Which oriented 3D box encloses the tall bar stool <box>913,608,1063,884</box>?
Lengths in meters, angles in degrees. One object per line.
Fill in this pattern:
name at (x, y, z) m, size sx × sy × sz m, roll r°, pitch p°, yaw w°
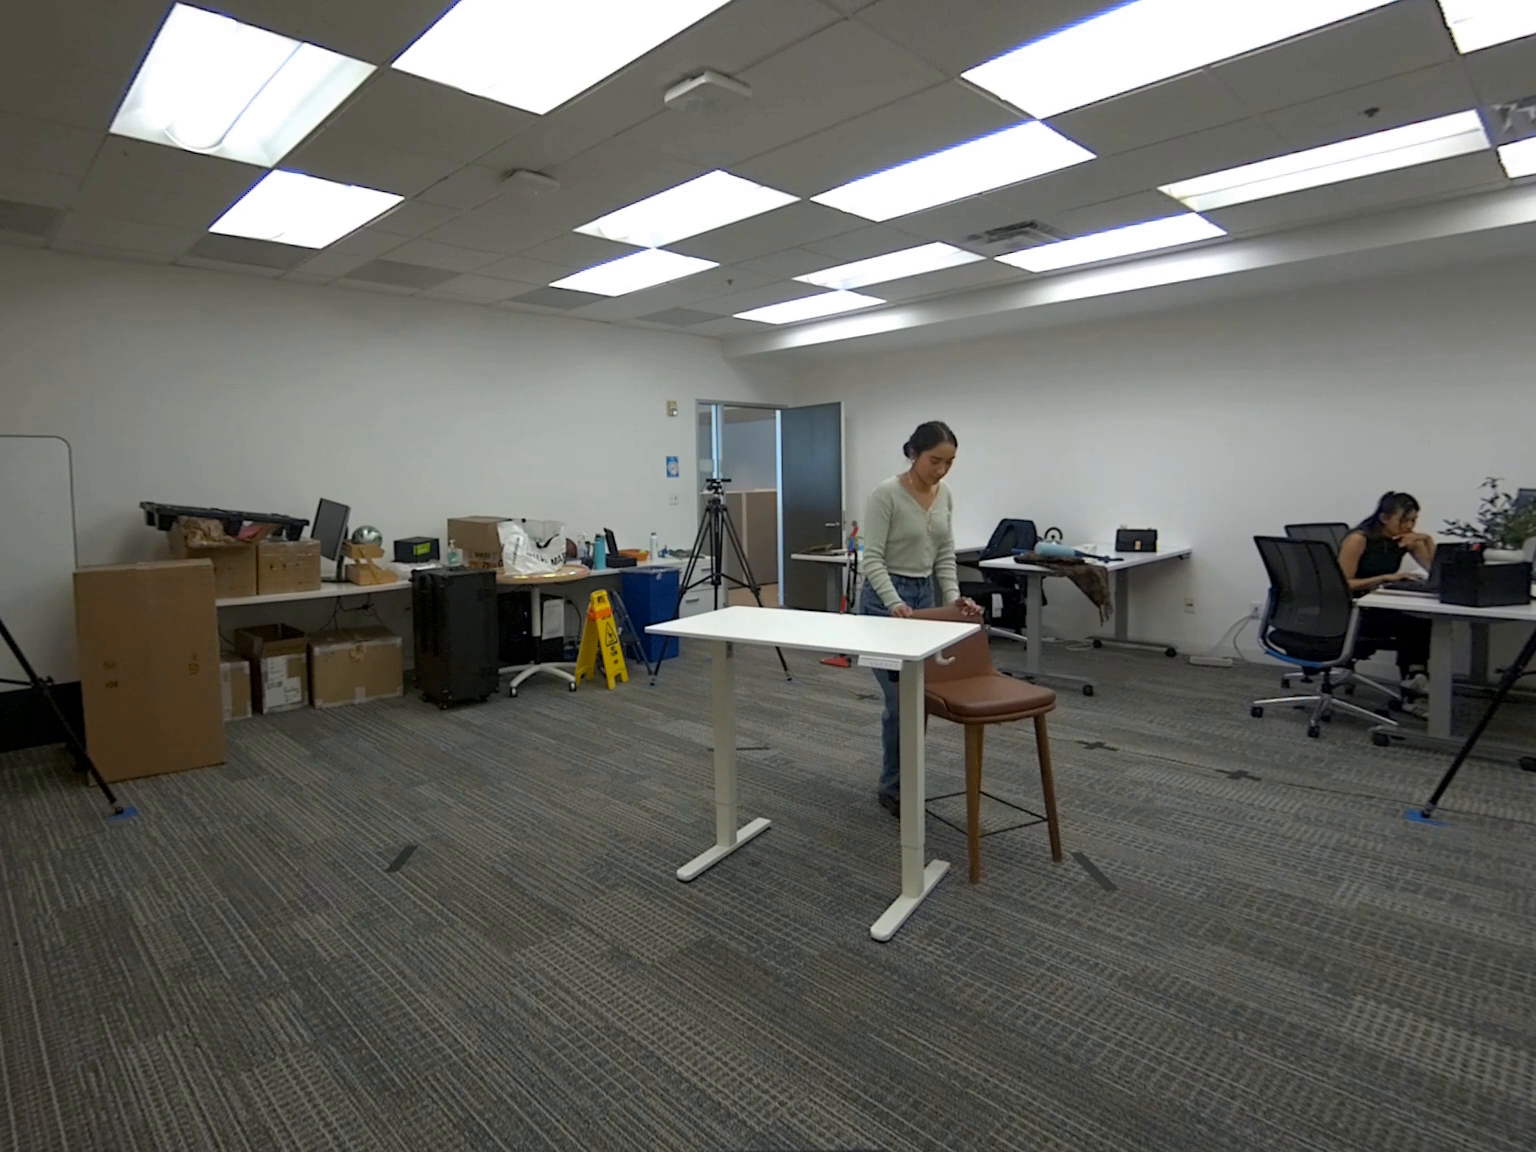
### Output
tall bar stool at (0.775, 0.589, 3.183) m, size 0.447 × 0.888 × 0.479 m, roll -3°, pitch 3°, yaw -26°
